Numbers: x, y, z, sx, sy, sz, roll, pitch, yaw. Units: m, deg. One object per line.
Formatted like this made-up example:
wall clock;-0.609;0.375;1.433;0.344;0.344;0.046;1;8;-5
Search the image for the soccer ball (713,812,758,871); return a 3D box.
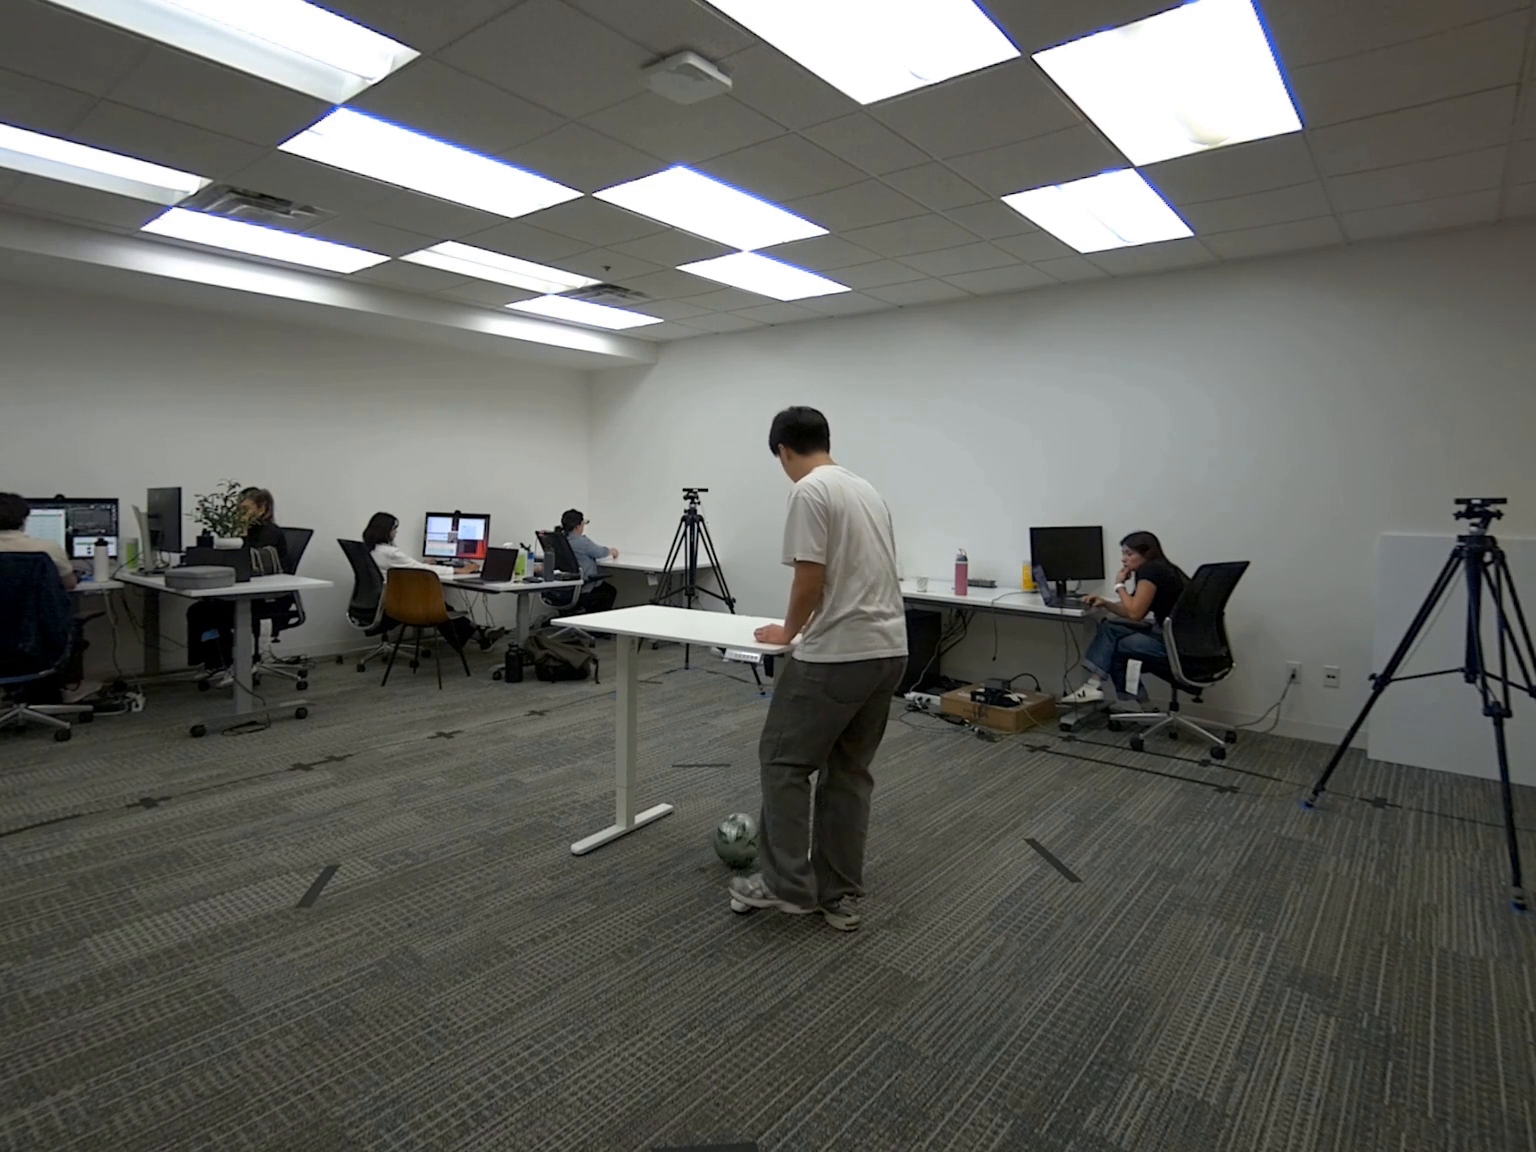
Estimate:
soccer ball;-0.108;0.969;3.153;0.187;0.187;0.188;1;4;-2
